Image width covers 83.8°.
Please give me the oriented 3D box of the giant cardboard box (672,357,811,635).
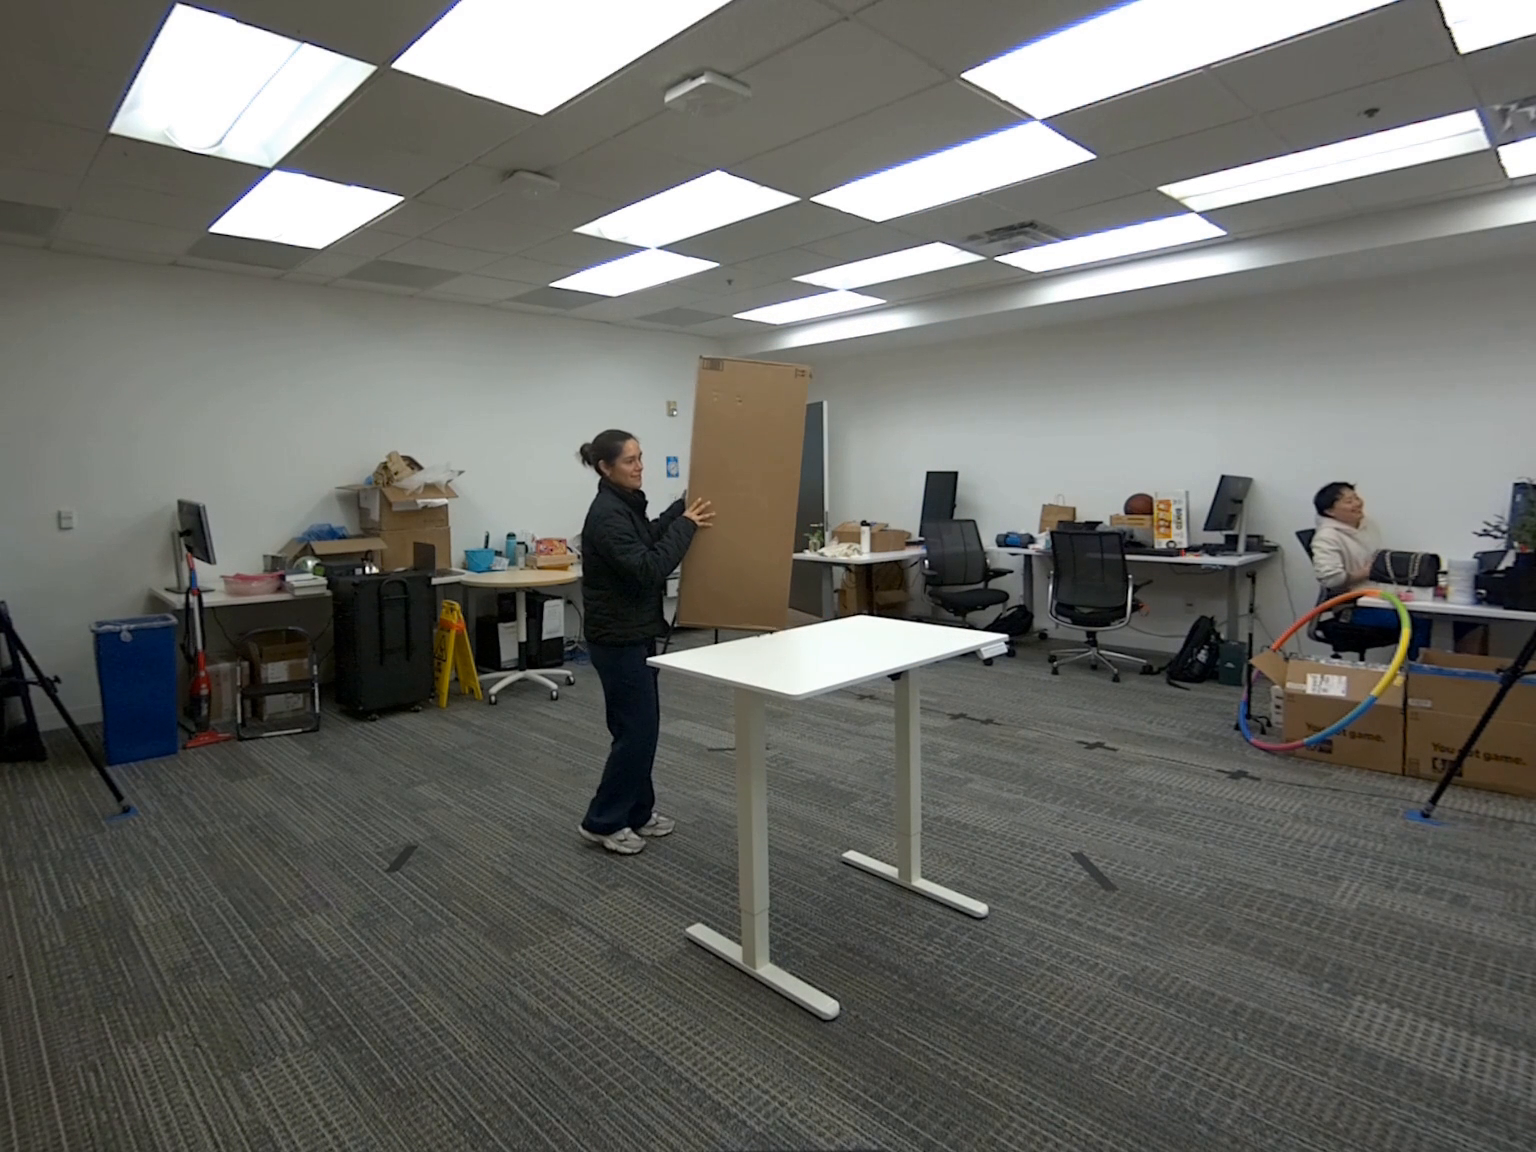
[{"bbox_3d":[-0.116,-0.330,3.519,0.425,1.023,0.581,5,4,-4],"label":"giant cardboard box"}]
